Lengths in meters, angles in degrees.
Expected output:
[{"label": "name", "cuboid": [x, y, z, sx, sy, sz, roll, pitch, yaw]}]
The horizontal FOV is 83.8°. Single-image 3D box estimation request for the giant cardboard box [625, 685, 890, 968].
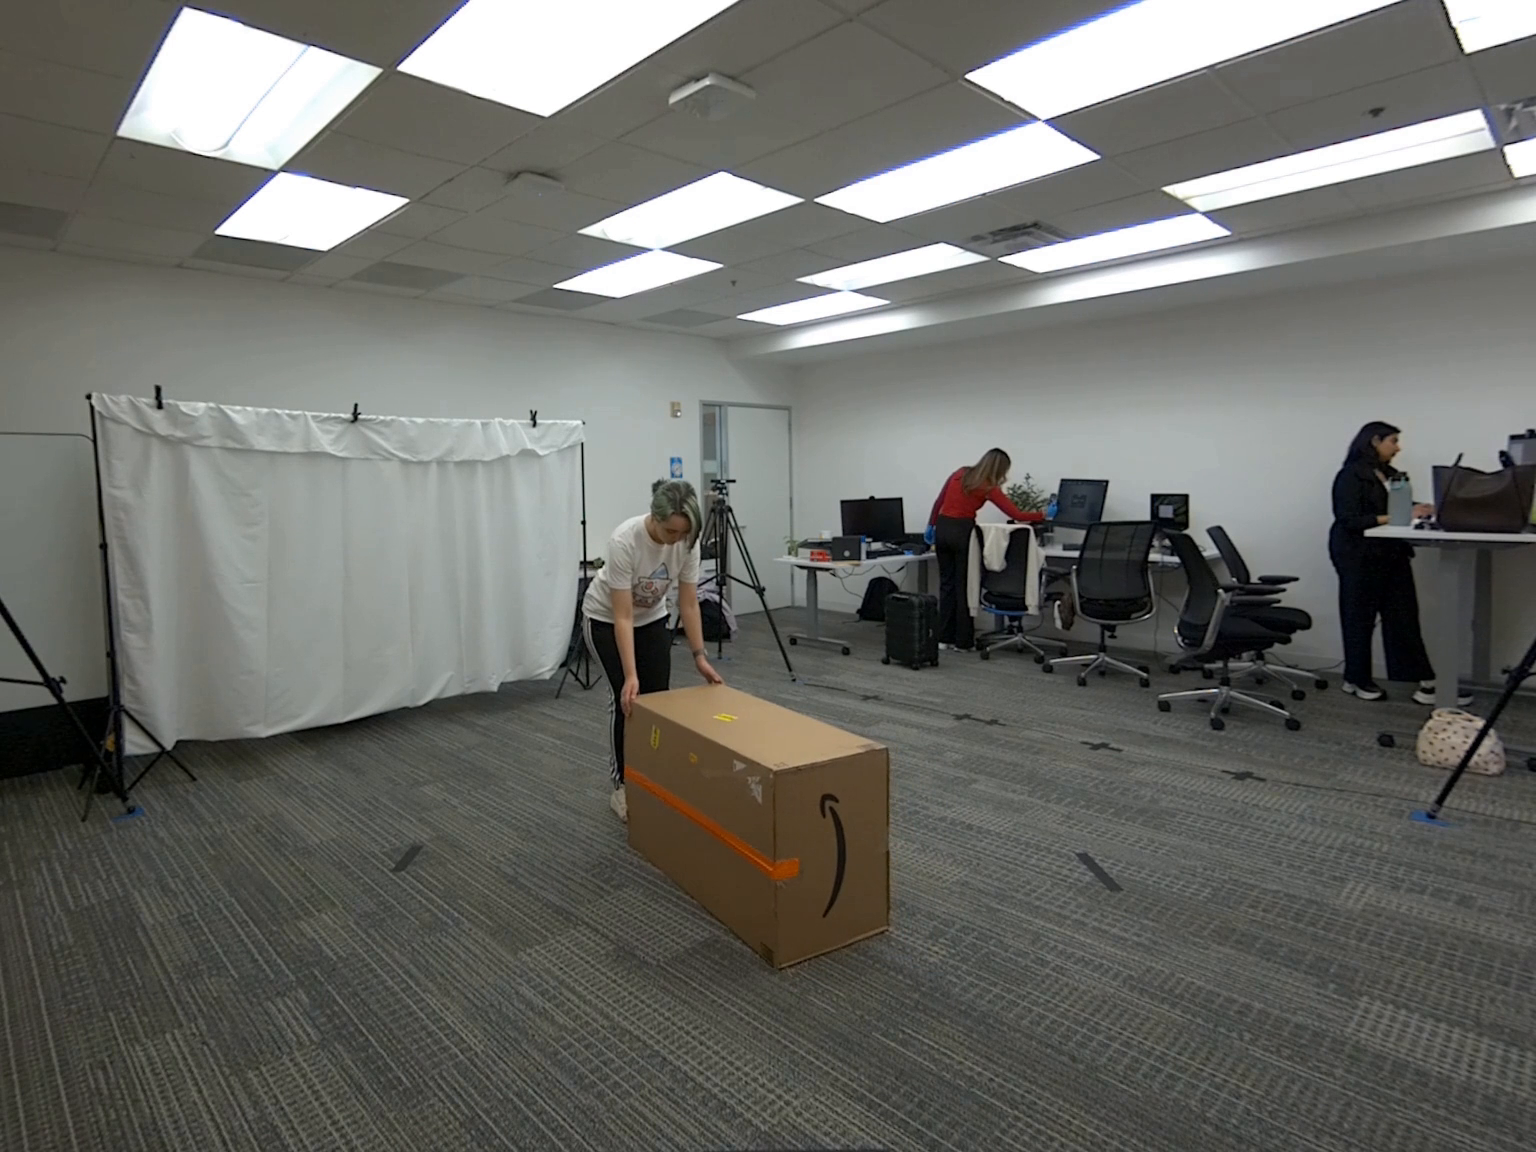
[{"label": "giant cardboard box", "cuboid": [-0.083, 0.780, 2.950, 0.436, 0.581, 1.056, -5, 6, -33]}]
